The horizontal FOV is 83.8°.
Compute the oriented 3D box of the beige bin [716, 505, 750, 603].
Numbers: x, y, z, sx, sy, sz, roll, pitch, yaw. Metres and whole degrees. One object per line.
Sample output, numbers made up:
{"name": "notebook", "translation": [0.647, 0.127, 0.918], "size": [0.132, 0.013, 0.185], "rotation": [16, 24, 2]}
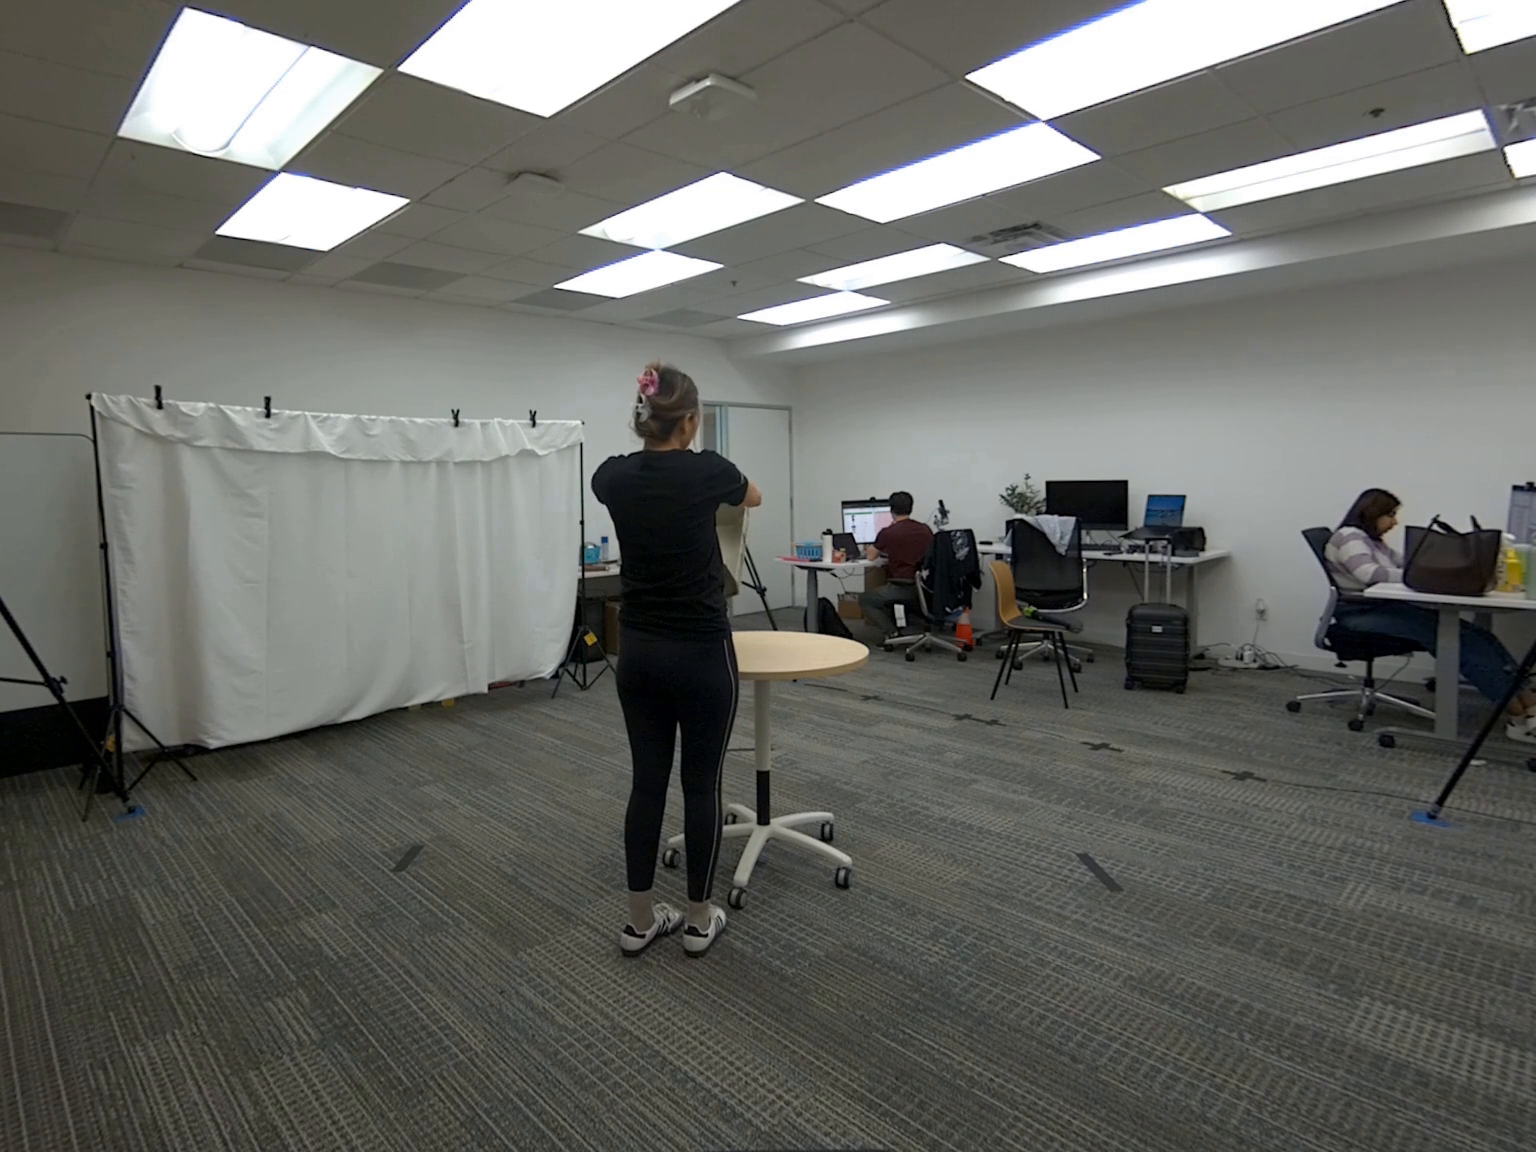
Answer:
{"name": "beige bin", "translation": [-0.256, -0.116, 2.875], "size": [0.380, 0.183, 0.432], "rotation": [-2, 40, 6]}
